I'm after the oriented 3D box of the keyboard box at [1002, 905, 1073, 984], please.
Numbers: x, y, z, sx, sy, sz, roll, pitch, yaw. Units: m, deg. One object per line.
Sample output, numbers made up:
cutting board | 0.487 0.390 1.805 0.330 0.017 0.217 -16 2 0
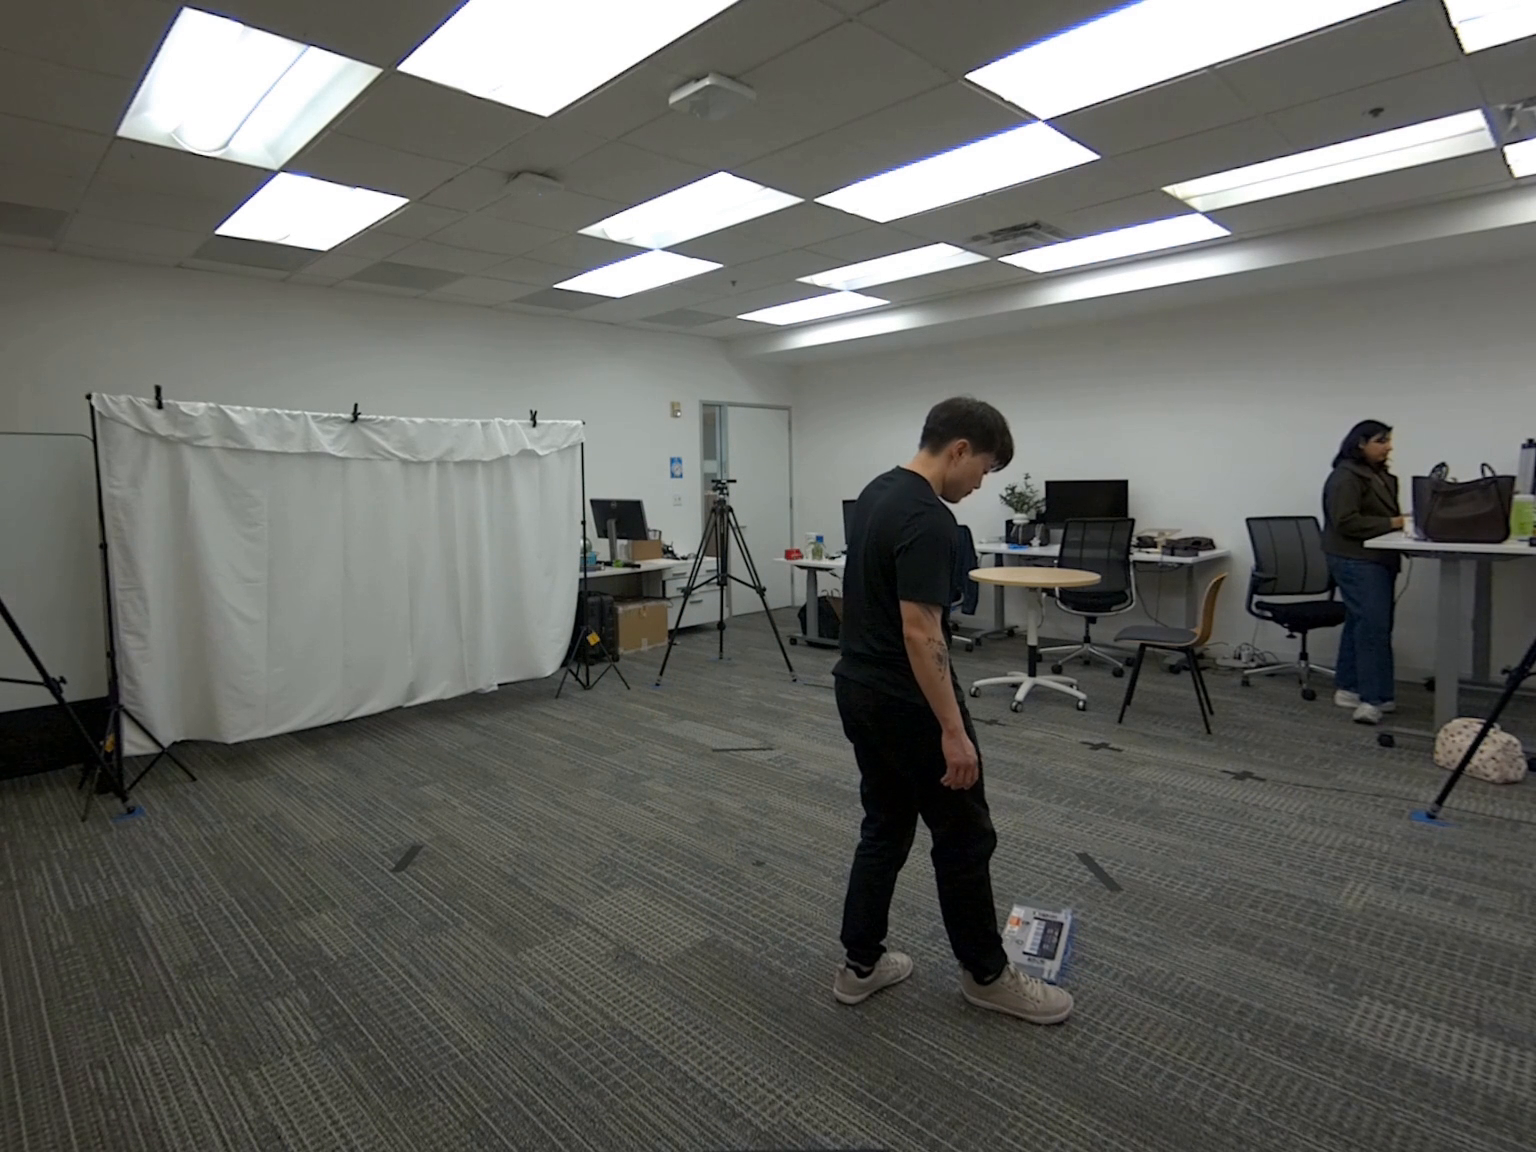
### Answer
keyboard box | 0.777 1.074 2.480 0.180 0.059 0.428 1 7 26
